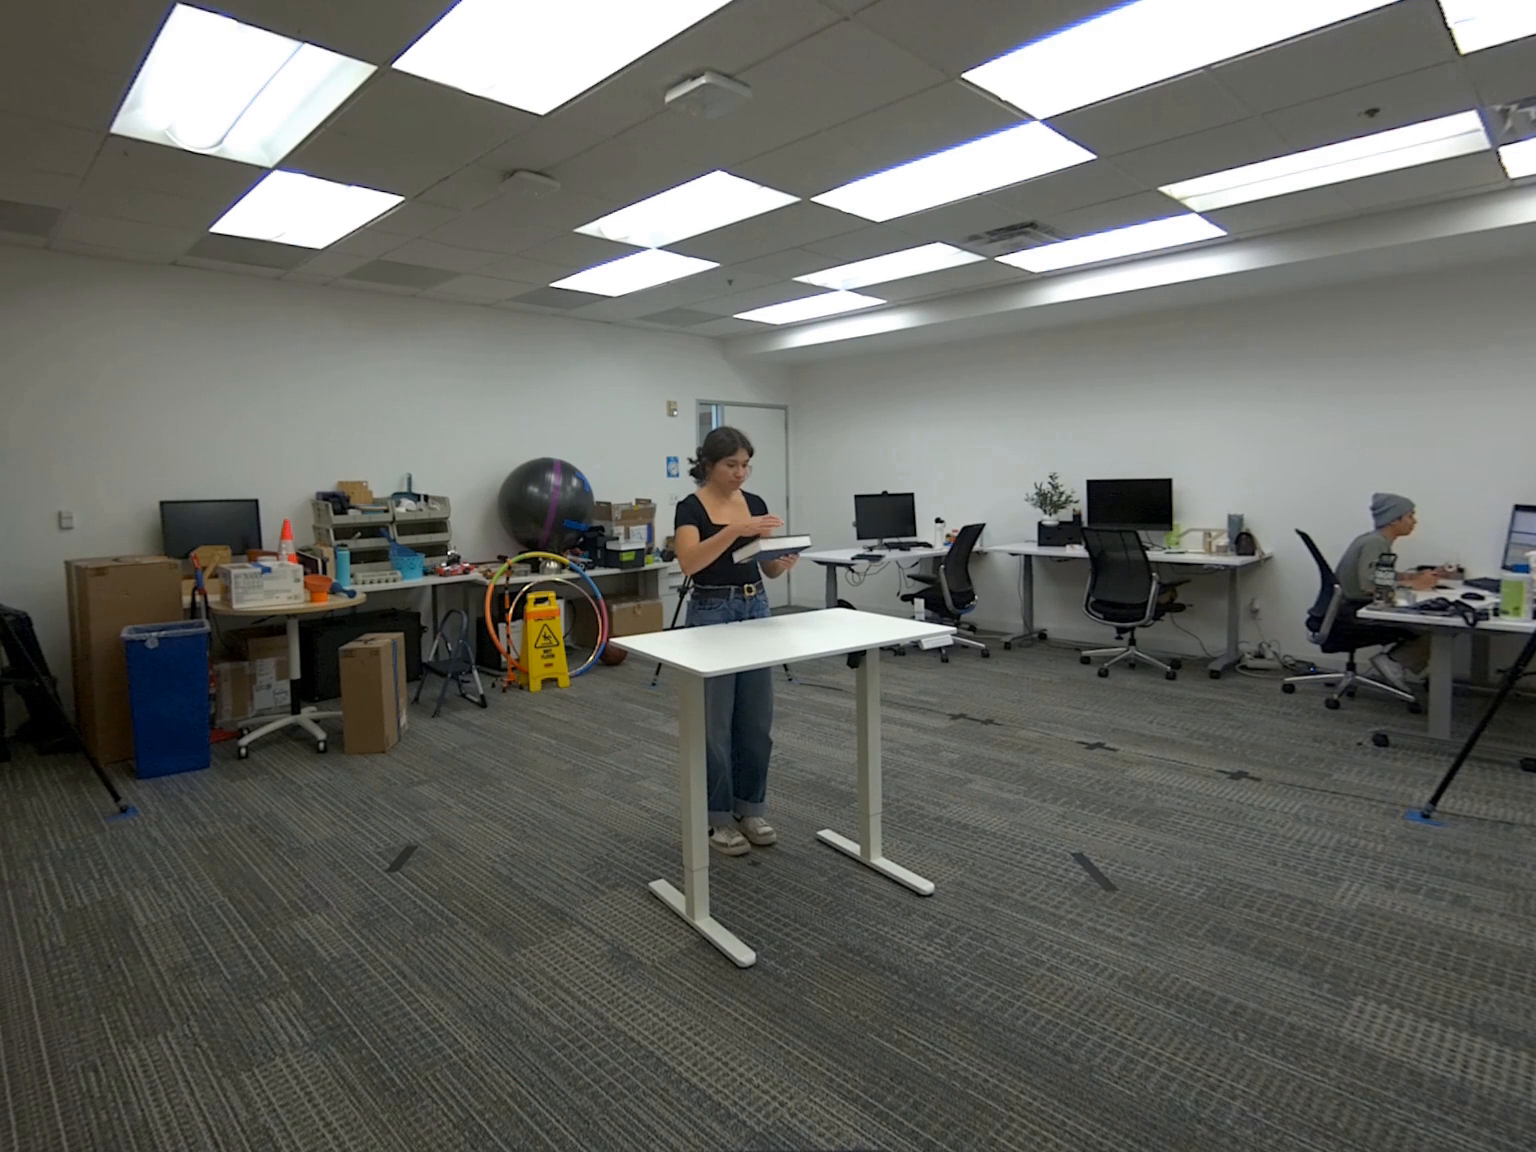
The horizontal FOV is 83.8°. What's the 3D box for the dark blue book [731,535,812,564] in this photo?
[{"bbox_3d":[0.005,-0.091,3.018,0.239,0.046,0.166,-6,-12,-41],"label":"dark blue book"}]
